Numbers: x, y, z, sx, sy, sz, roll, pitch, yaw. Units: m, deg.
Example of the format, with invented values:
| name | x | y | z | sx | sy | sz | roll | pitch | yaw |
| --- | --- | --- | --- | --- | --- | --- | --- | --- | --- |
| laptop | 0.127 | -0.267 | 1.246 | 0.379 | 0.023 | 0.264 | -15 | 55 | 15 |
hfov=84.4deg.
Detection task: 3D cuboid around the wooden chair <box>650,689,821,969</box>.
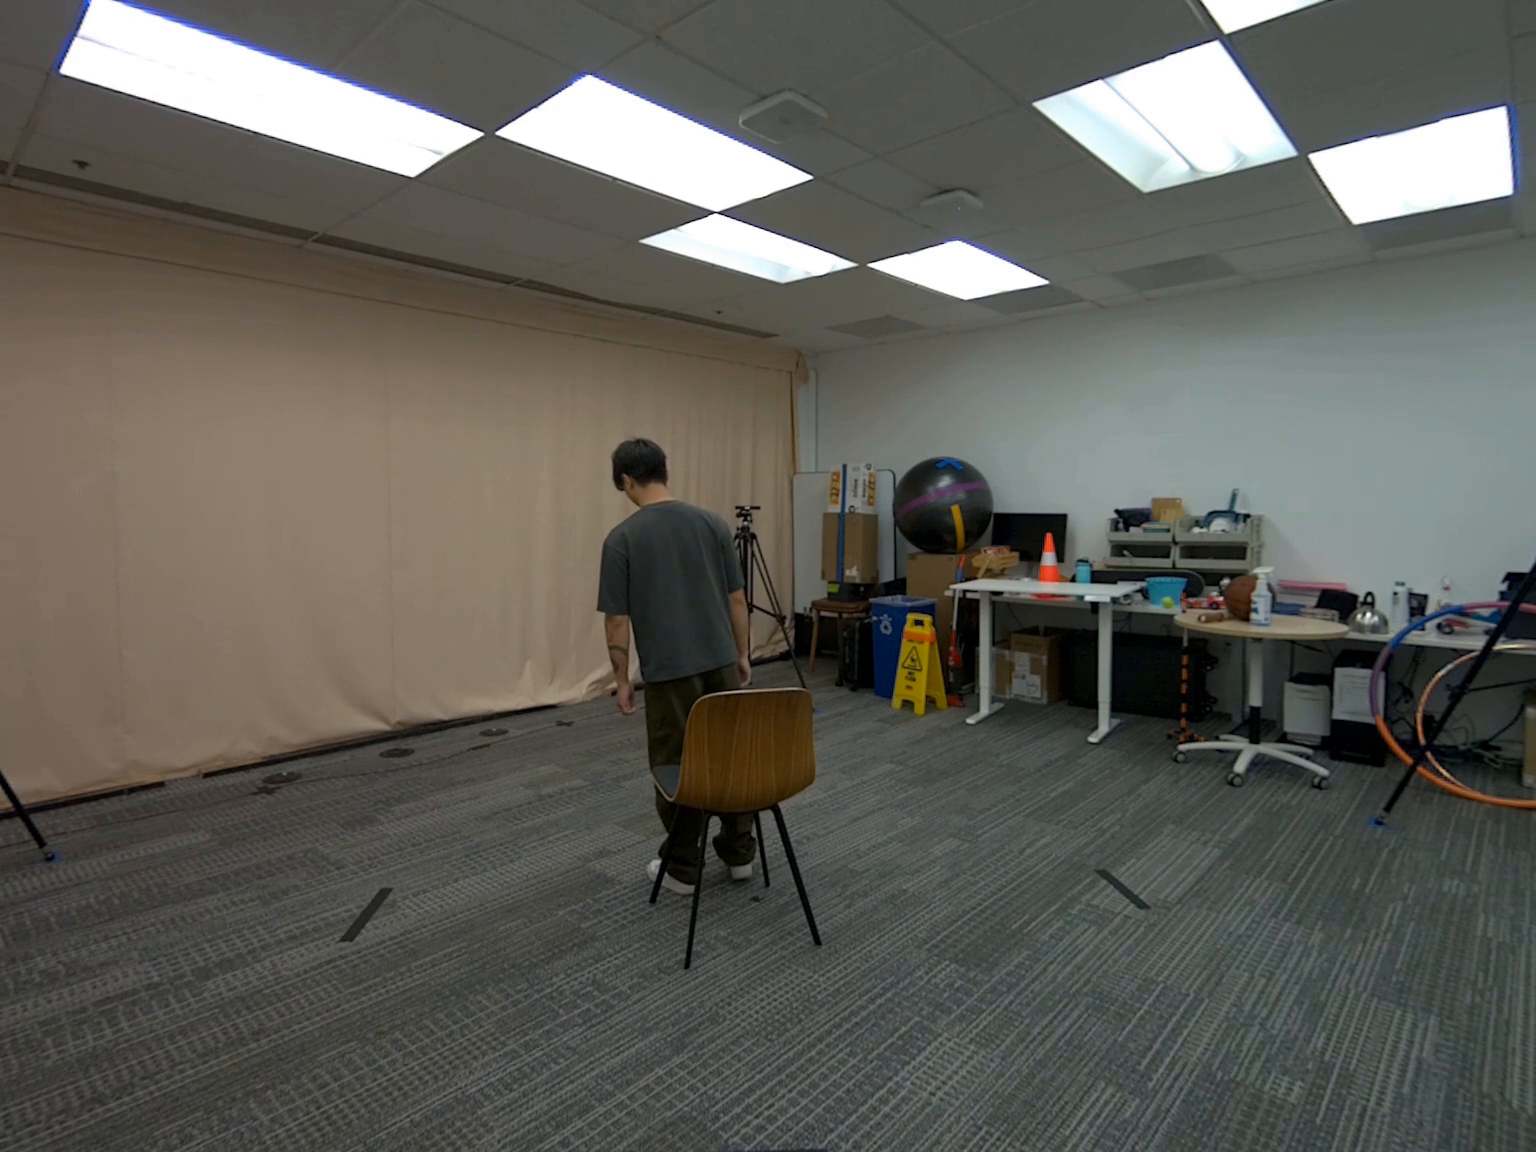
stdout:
| name | x | y | z | sx | sy | sz | roll | pitch | yaw |
| --- | --- | --- | --- | --- | --- | --- | --- | --- | --- |
| wooden chair | -0.118 | 0.731 | 2.786 | 0.469 | 0.873 | 0.536 | -2 | 7 | -20 |
